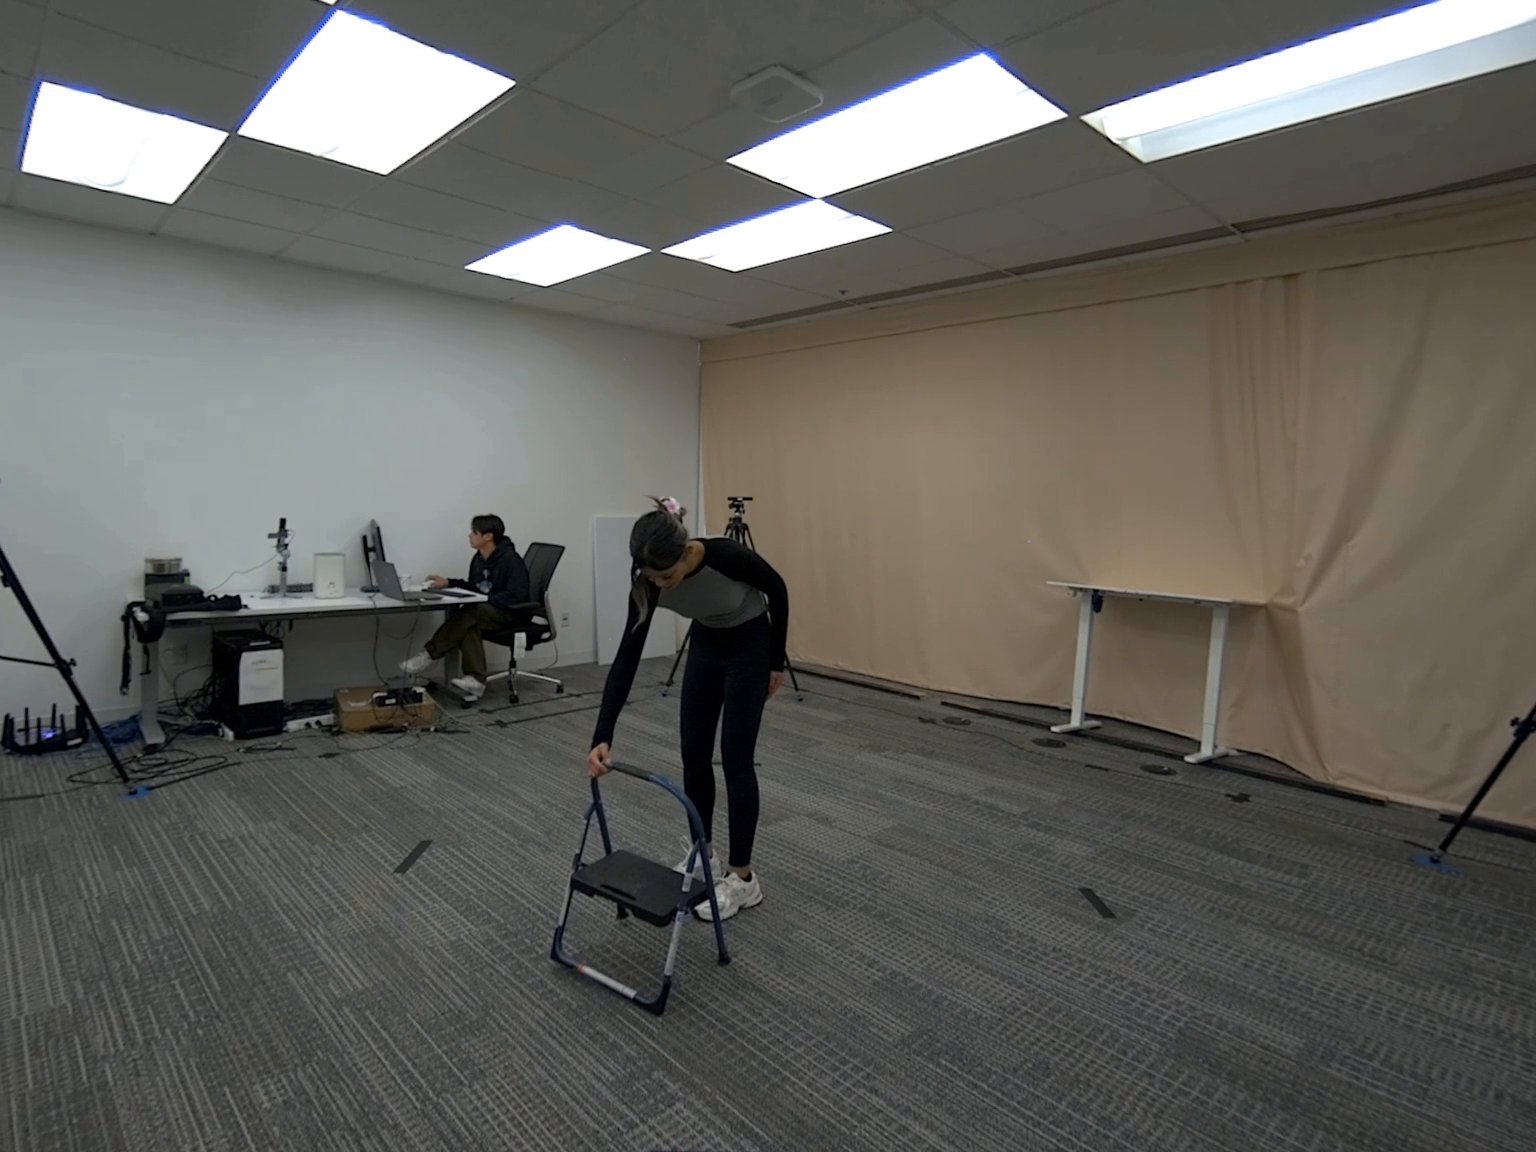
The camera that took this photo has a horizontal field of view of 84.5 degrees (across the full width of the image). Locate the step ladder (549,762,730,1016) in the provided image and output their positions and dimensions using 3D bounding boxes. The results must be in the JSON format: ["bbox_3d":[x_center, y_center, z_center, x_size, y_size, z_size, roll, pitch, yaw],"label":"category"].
[{"bbox_3d":[-0.367,0.847,2.475,0.441,0.604,0.342,7,6,31],"label":"step ladder"}]
